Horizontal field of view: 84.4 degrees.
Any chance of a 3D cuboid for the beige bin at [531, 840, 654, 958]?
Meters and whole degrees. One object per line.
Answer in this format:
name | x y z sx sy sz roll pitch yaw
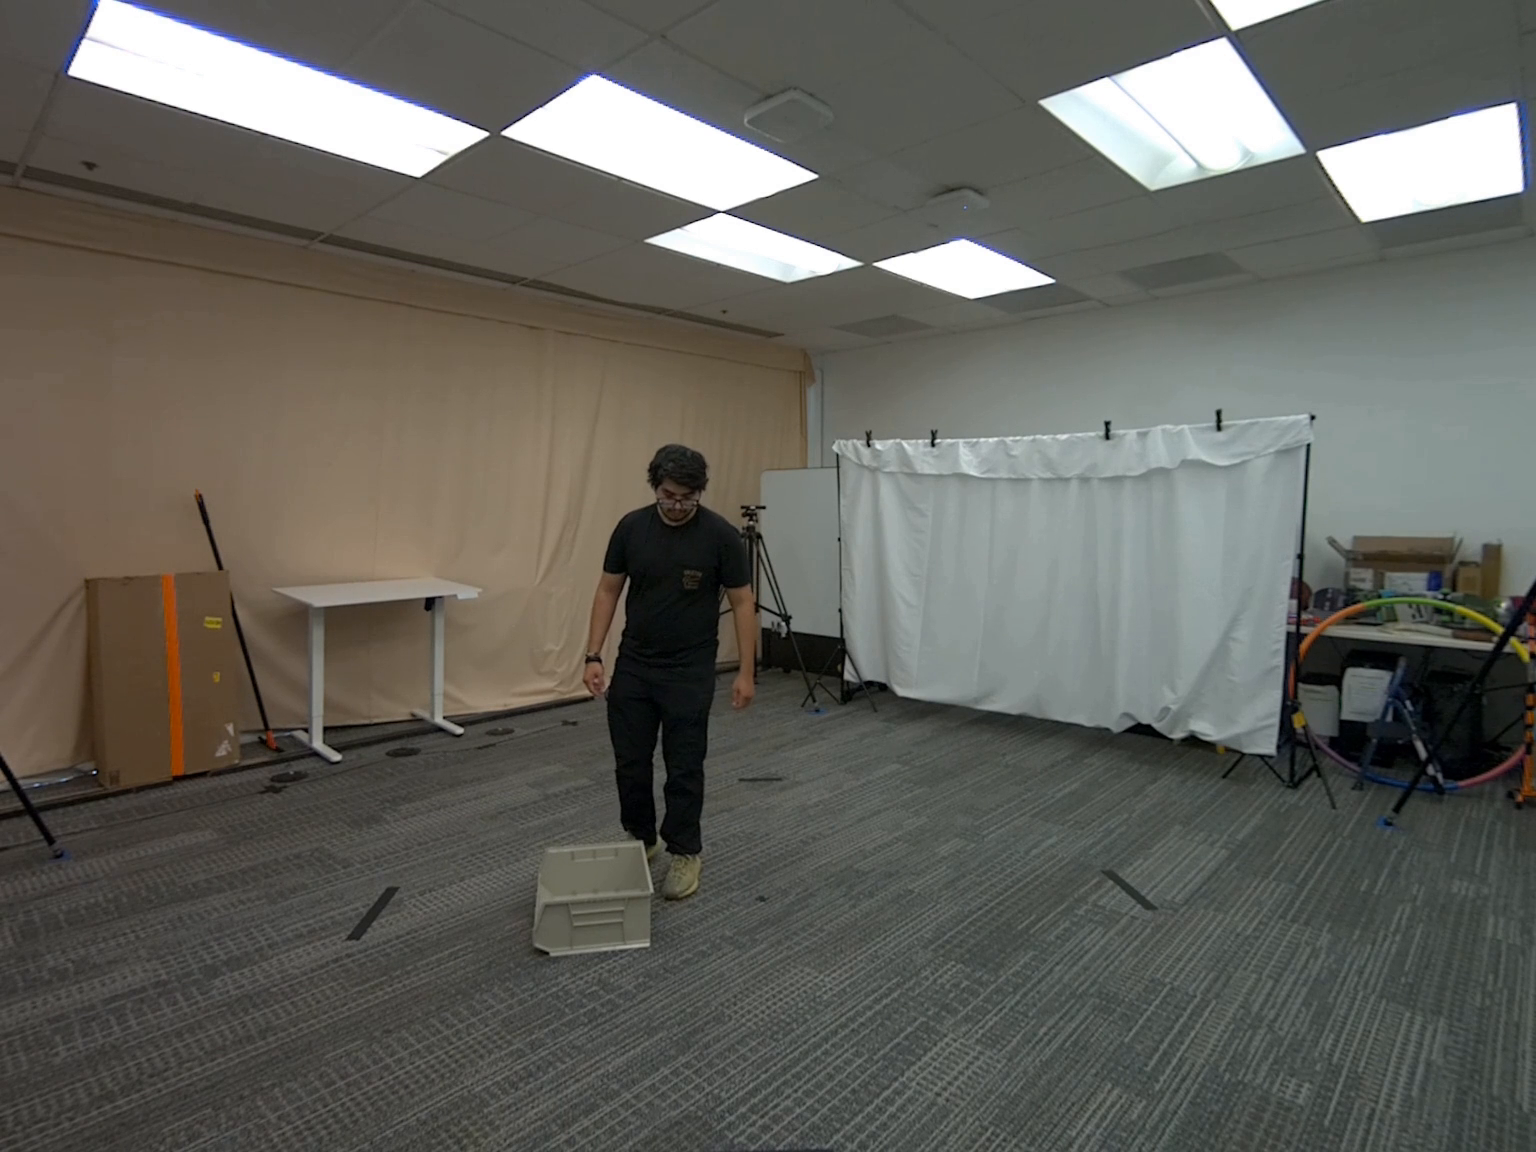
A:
beige bin | -0.606 1.081 2.823 0.373 0.188 0.428 -1 4 -11
